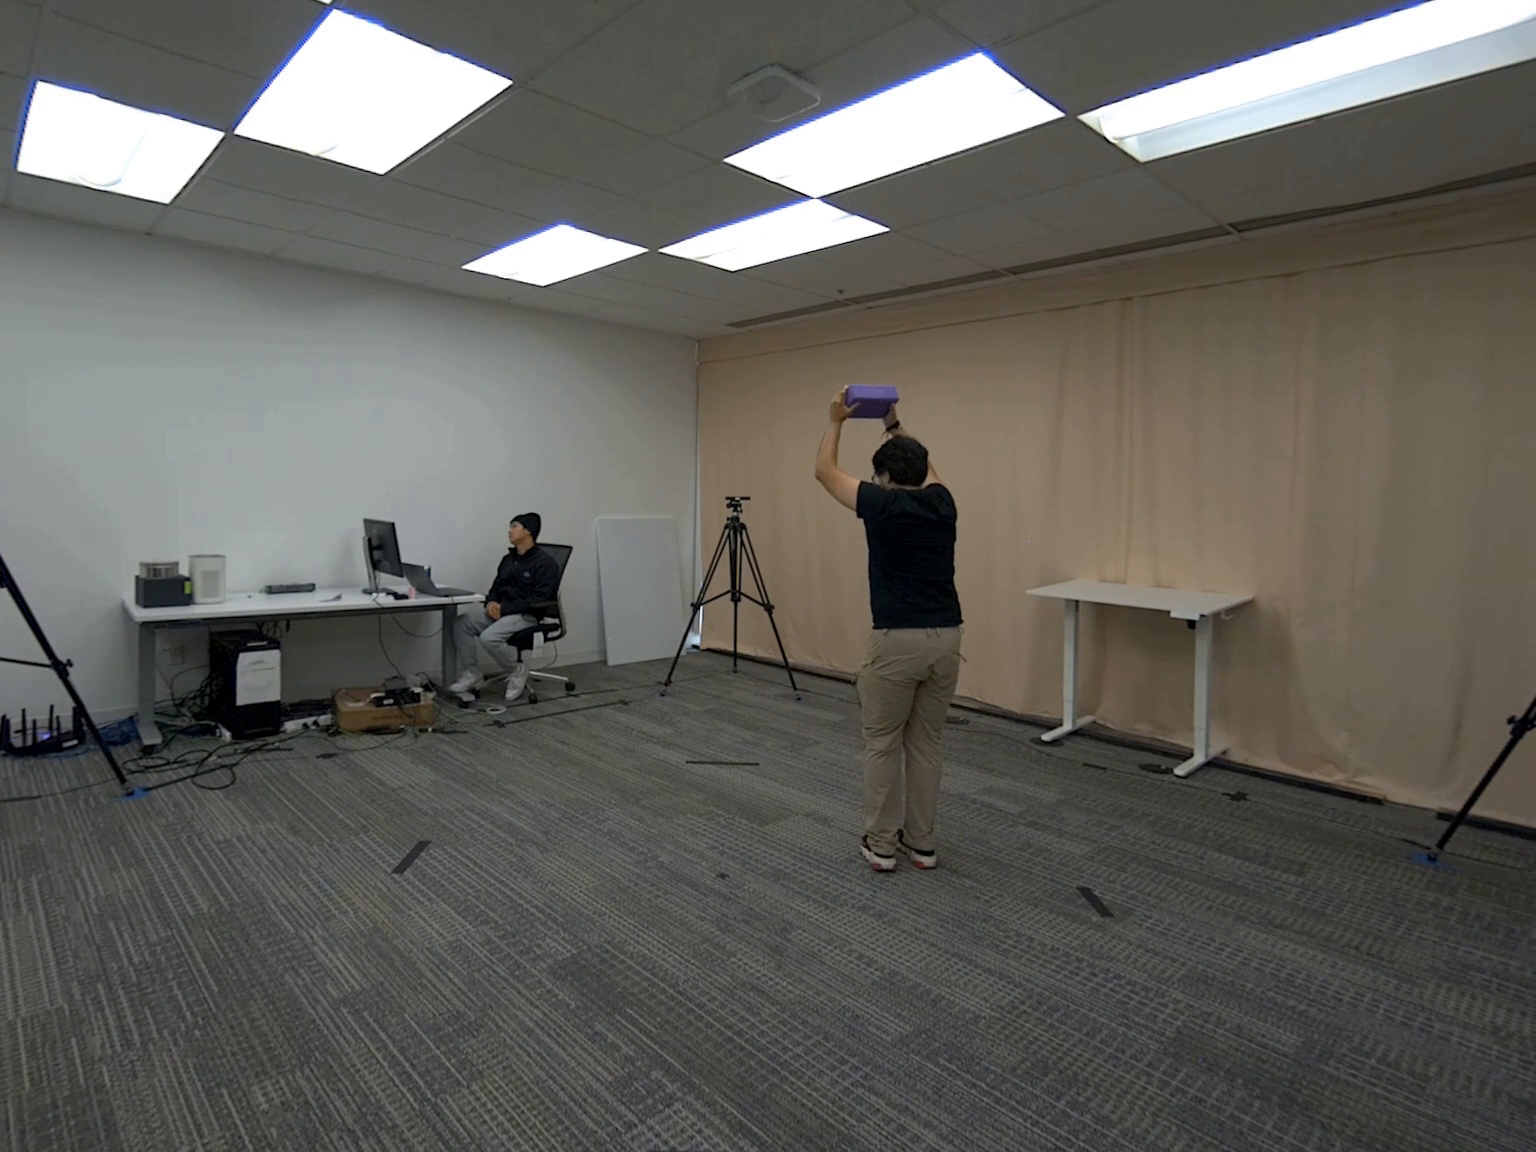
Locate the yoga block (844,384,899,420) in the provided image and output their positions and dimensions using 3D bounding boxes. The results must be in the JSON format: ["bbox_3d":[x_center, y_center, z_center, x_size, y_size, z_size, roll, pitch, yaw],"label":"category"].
[{"bbox_3d":[0.394,-0.716,3.472,0.225,0.078,0.149,-4,-22,-27],"label":"yoga block"}]
